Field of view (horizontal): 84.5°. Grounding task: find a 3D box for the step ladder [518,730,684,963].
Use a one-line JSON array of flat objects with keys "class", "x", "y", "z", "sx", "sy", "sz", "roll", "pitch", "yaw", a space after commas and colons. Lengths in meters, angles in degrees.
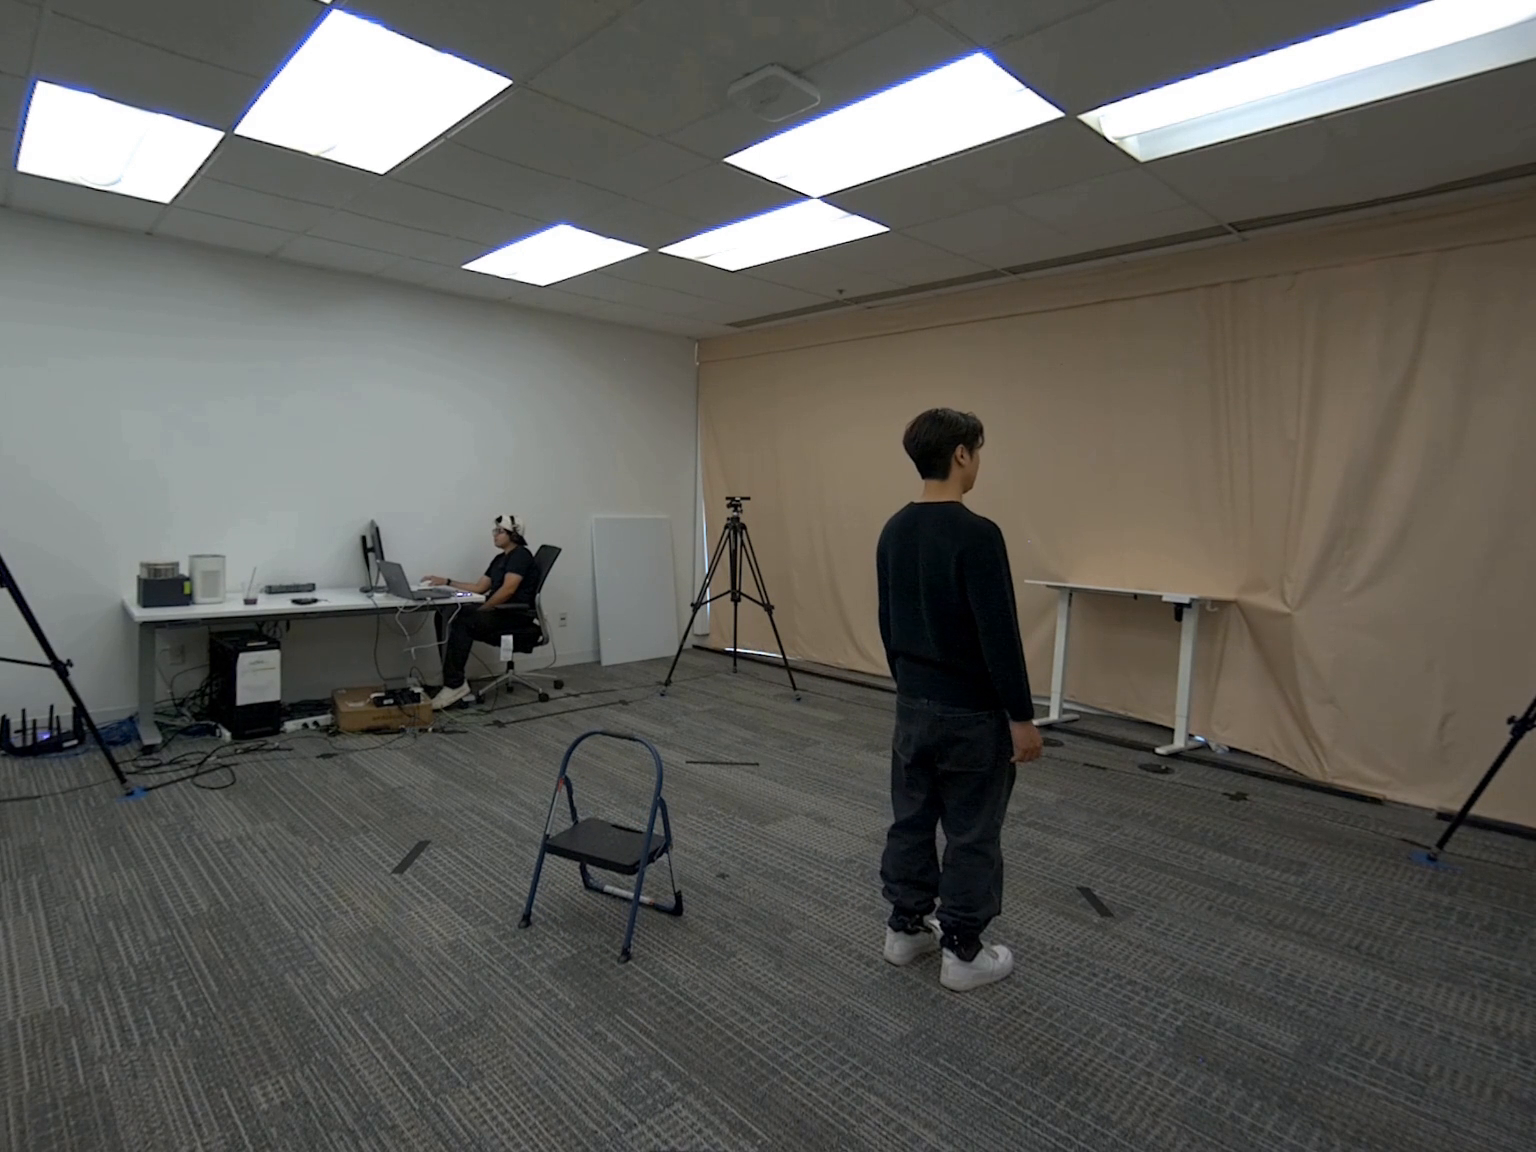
[{"class": "step ladder", "x": -0.535, "y": 0.829, "z": 2.741, "sx": 0.439, "sy": 0.604, "sz": 0.343, "roll": 4, "pitch": 5, "yaw": 27}]
